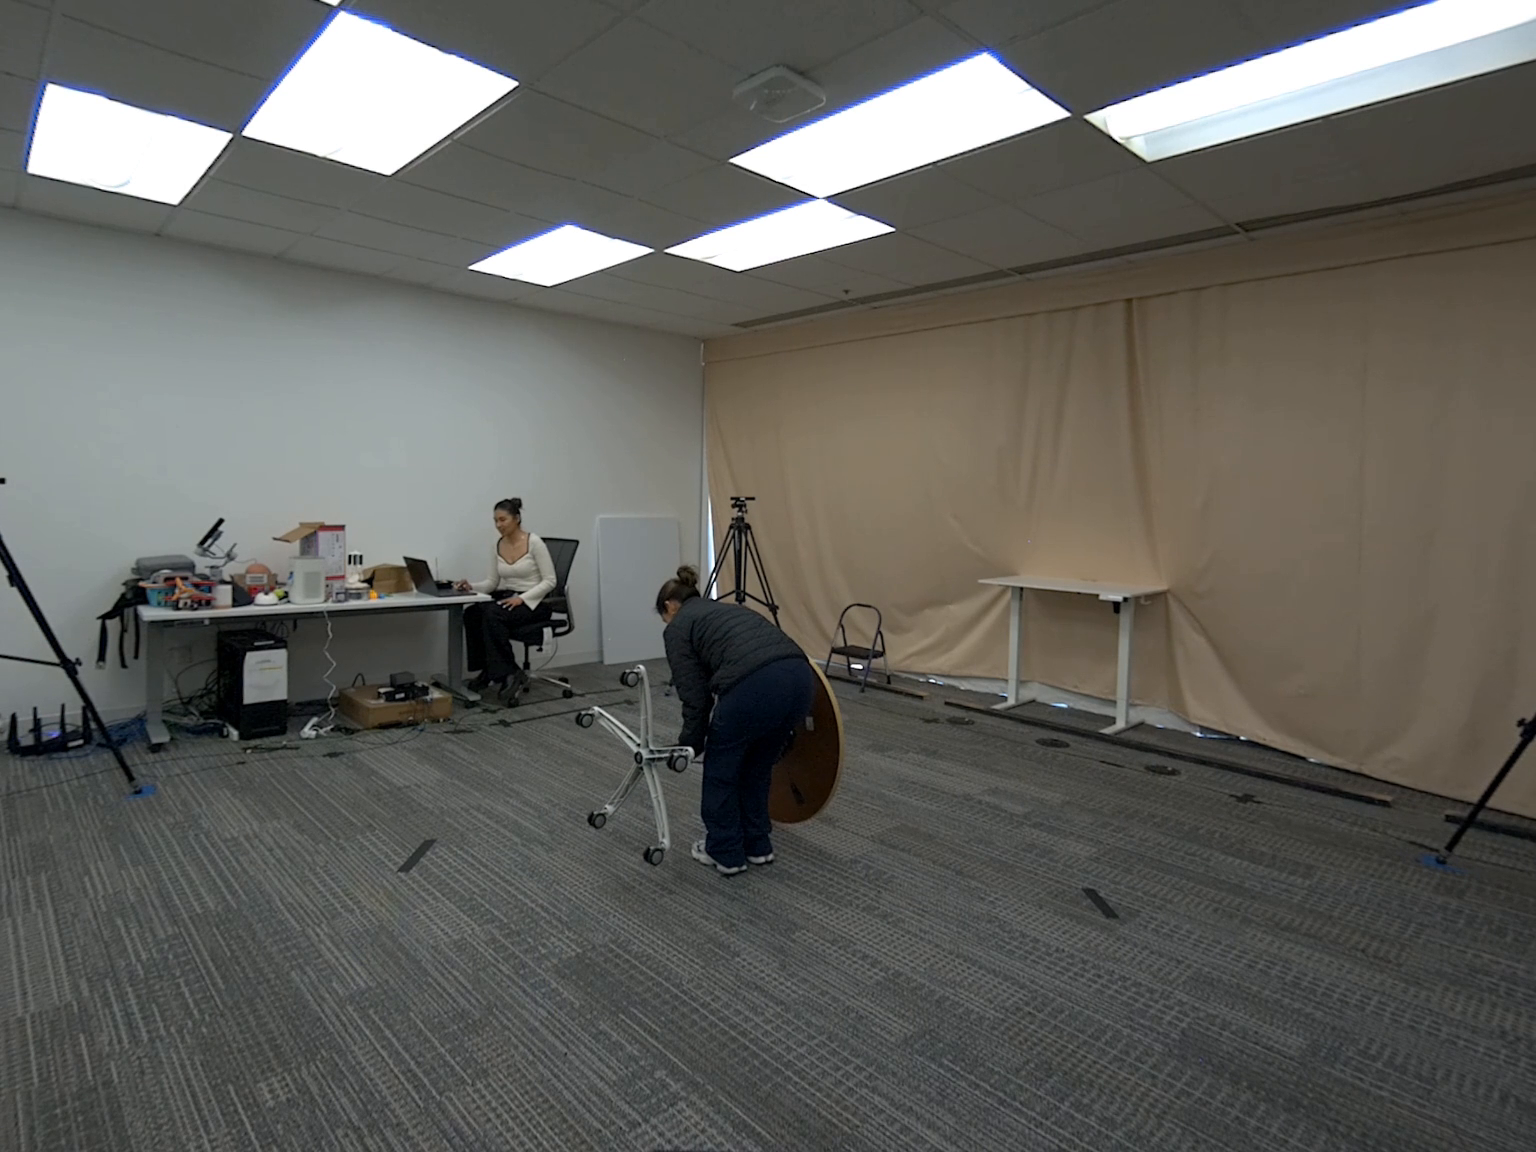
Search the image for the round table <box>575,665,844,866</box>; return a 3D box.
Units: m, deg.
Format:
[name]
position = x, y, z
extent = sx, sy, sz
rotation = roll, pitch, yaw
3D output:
[round table]
position = -0.247, 0.682, 3.326
extent = 0.769, 0.782, 0.805
rotation = -3, 6, -42
